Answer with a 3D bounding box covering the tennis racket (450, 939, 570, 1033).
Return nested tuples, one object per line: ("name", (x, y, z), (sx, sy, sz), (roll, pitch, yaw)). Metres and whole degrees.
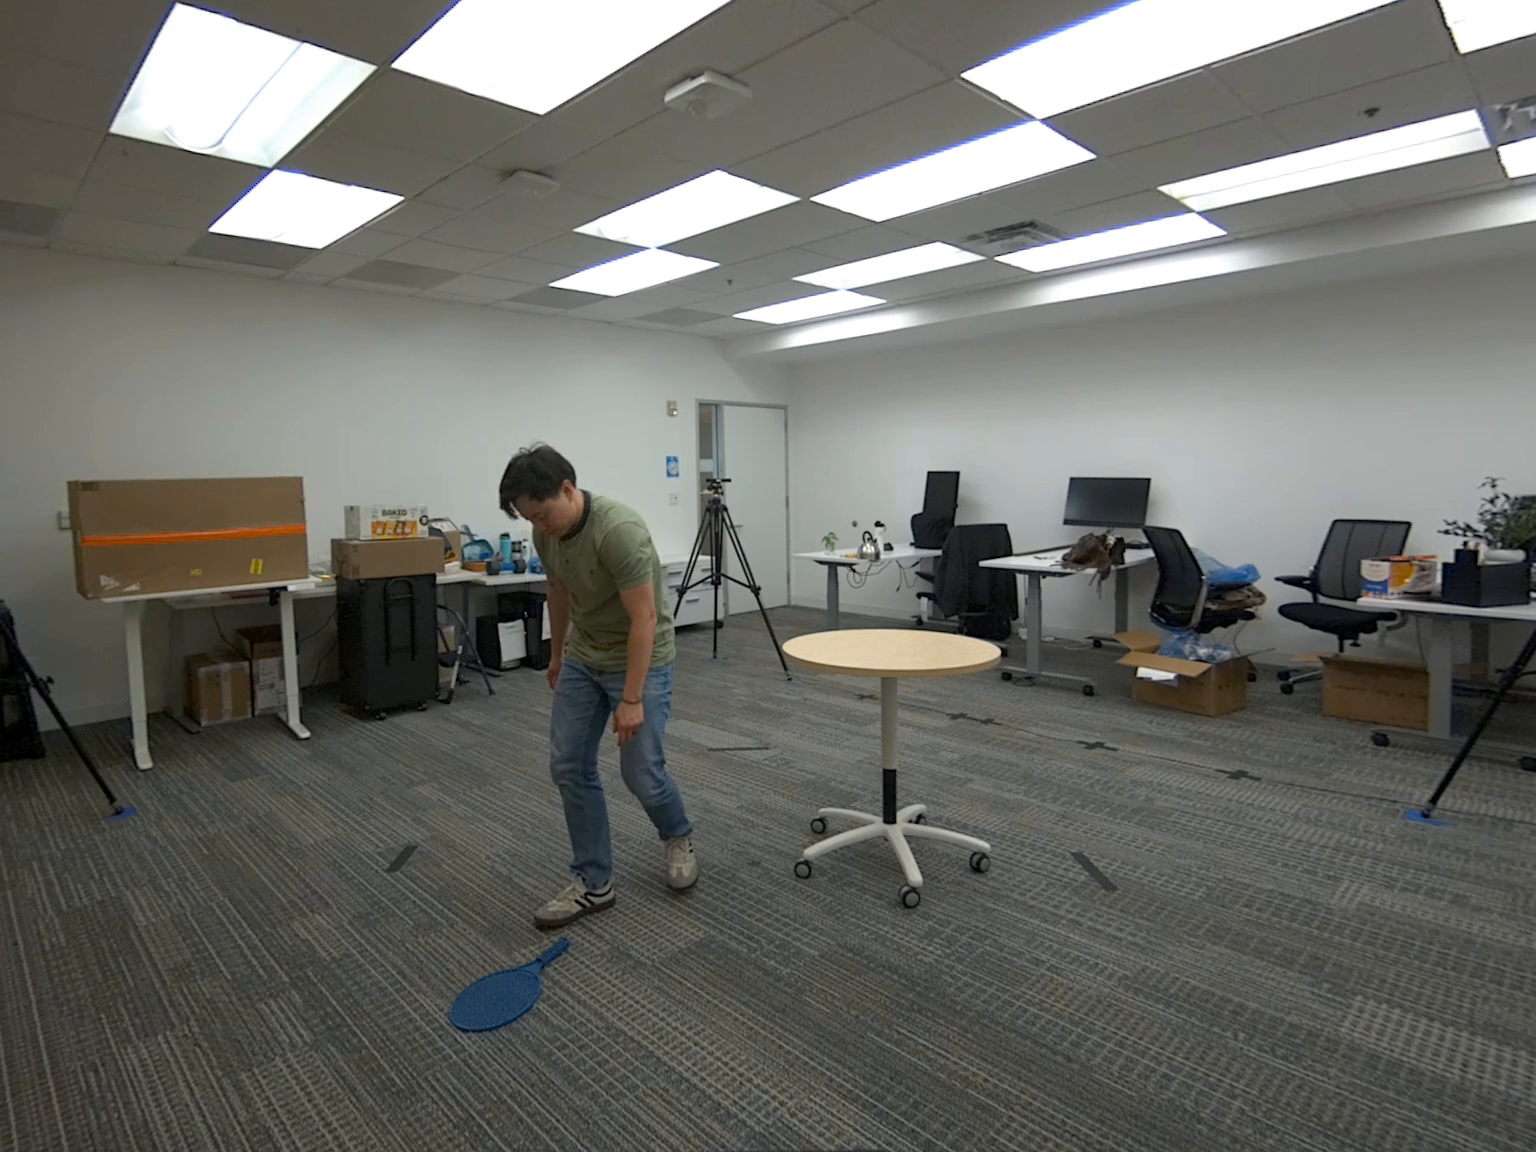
("tennis racket", (-0.684, 1.129, 2.379), (0.219, 0.031, 0.424), (3, 9, 28))
